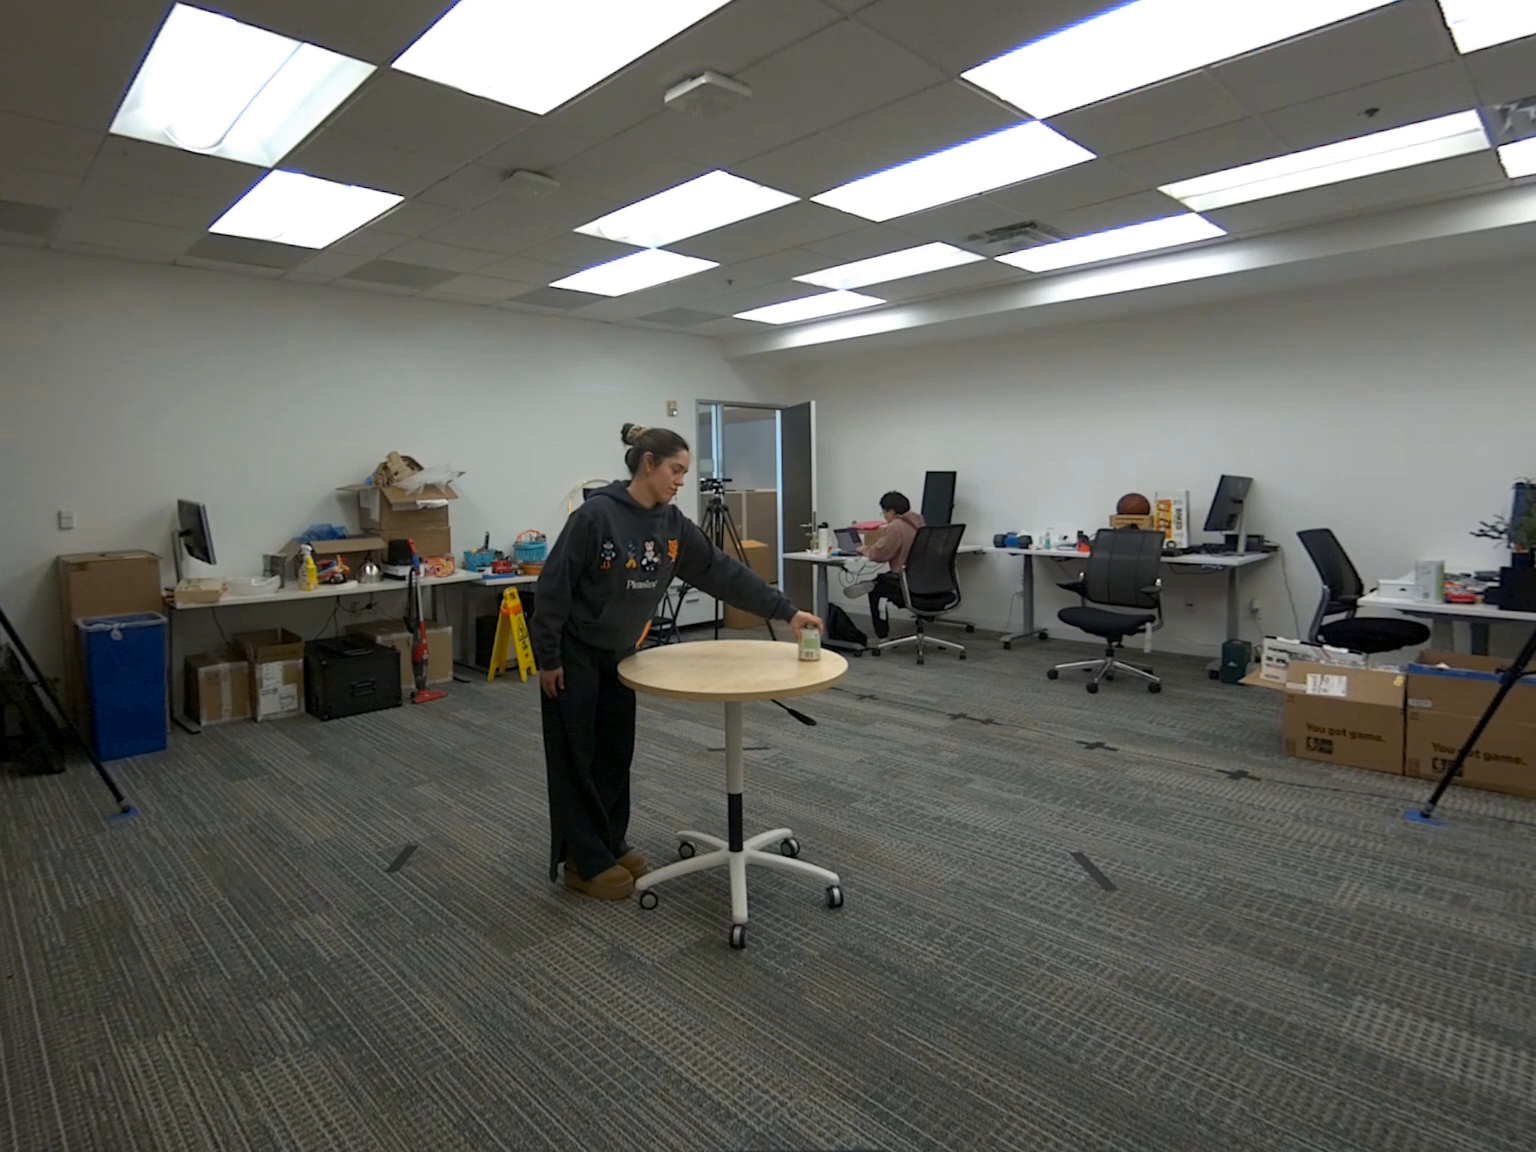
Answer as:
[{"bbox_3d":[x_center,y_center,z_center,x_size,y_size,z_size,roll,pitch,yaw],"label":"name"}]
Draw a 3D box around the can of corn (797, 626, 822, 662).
[{"bbox_3d":[0.137,0.222,2.870,0.074,0.111,0.074,-1,0,-2],"label":"can of corn"}]
